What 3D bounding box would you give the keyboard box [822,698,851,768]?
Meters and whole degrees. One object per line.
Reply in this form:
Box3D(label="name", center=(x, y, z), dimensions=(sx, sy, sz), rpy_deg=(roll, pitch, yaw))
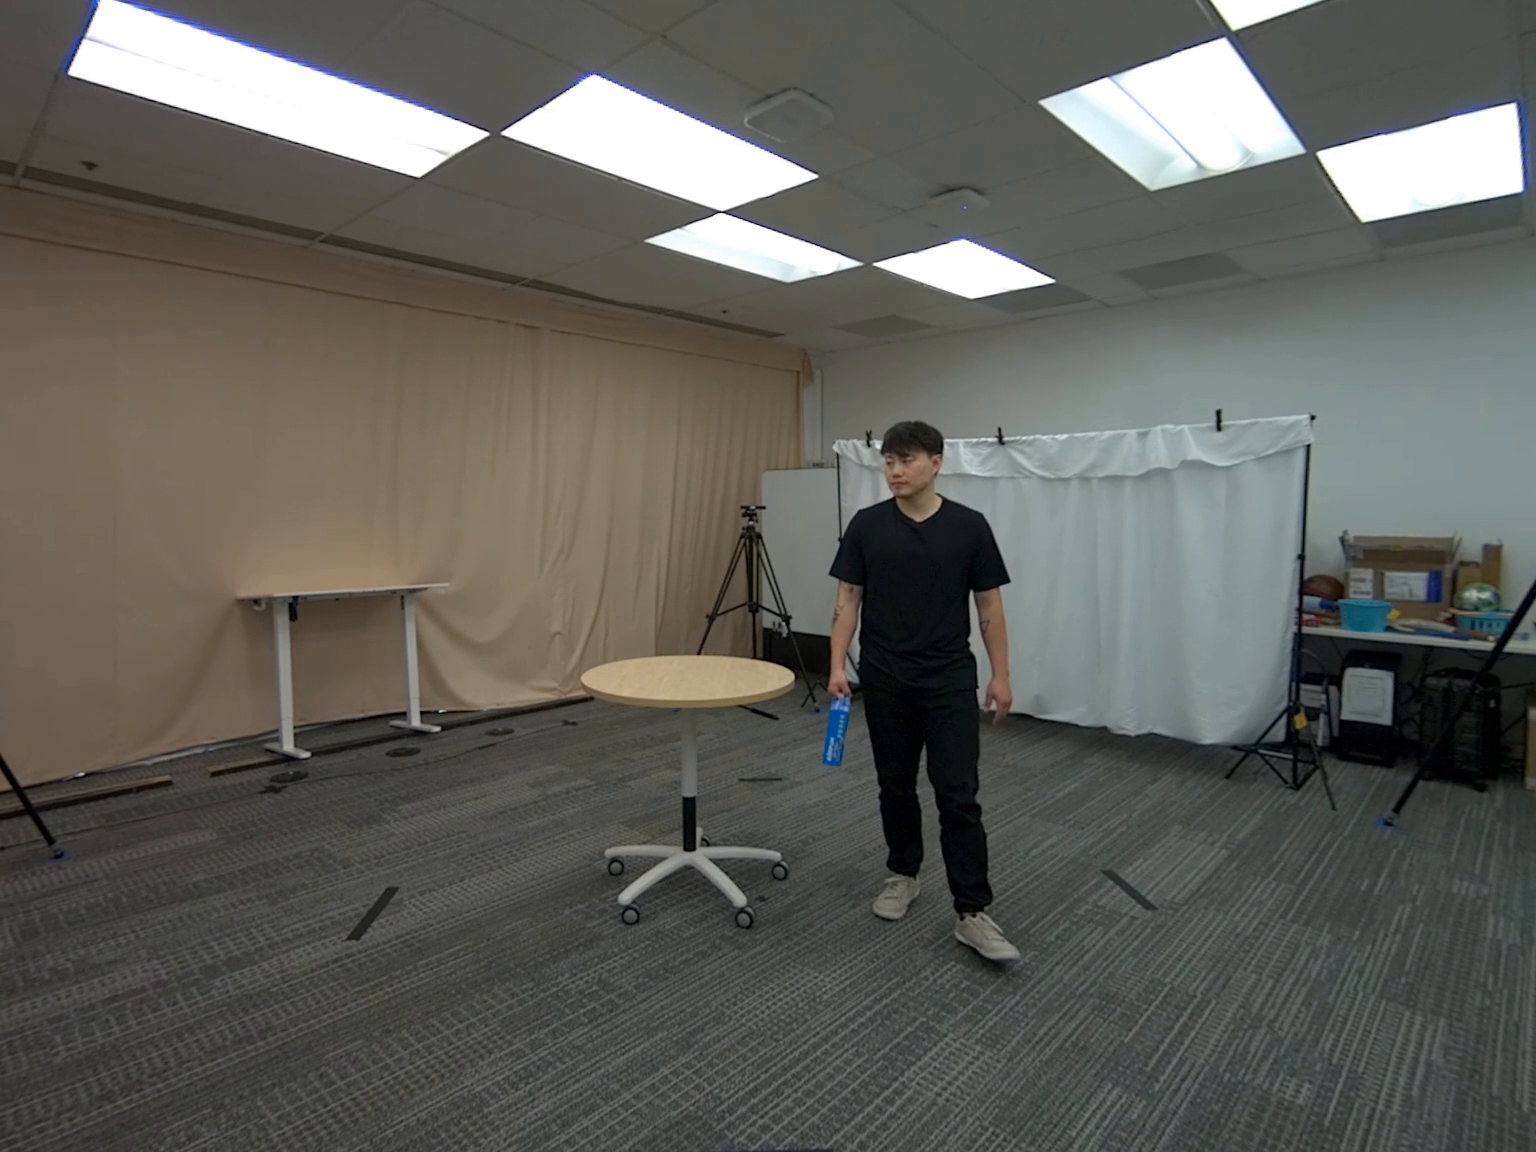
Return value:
Box3D(label="keyboard box", center=(0.243, 0.493, 2.790), dimensions=(0.059, 0.176, 0.433), rpy_deg=(8, 2, 6))
